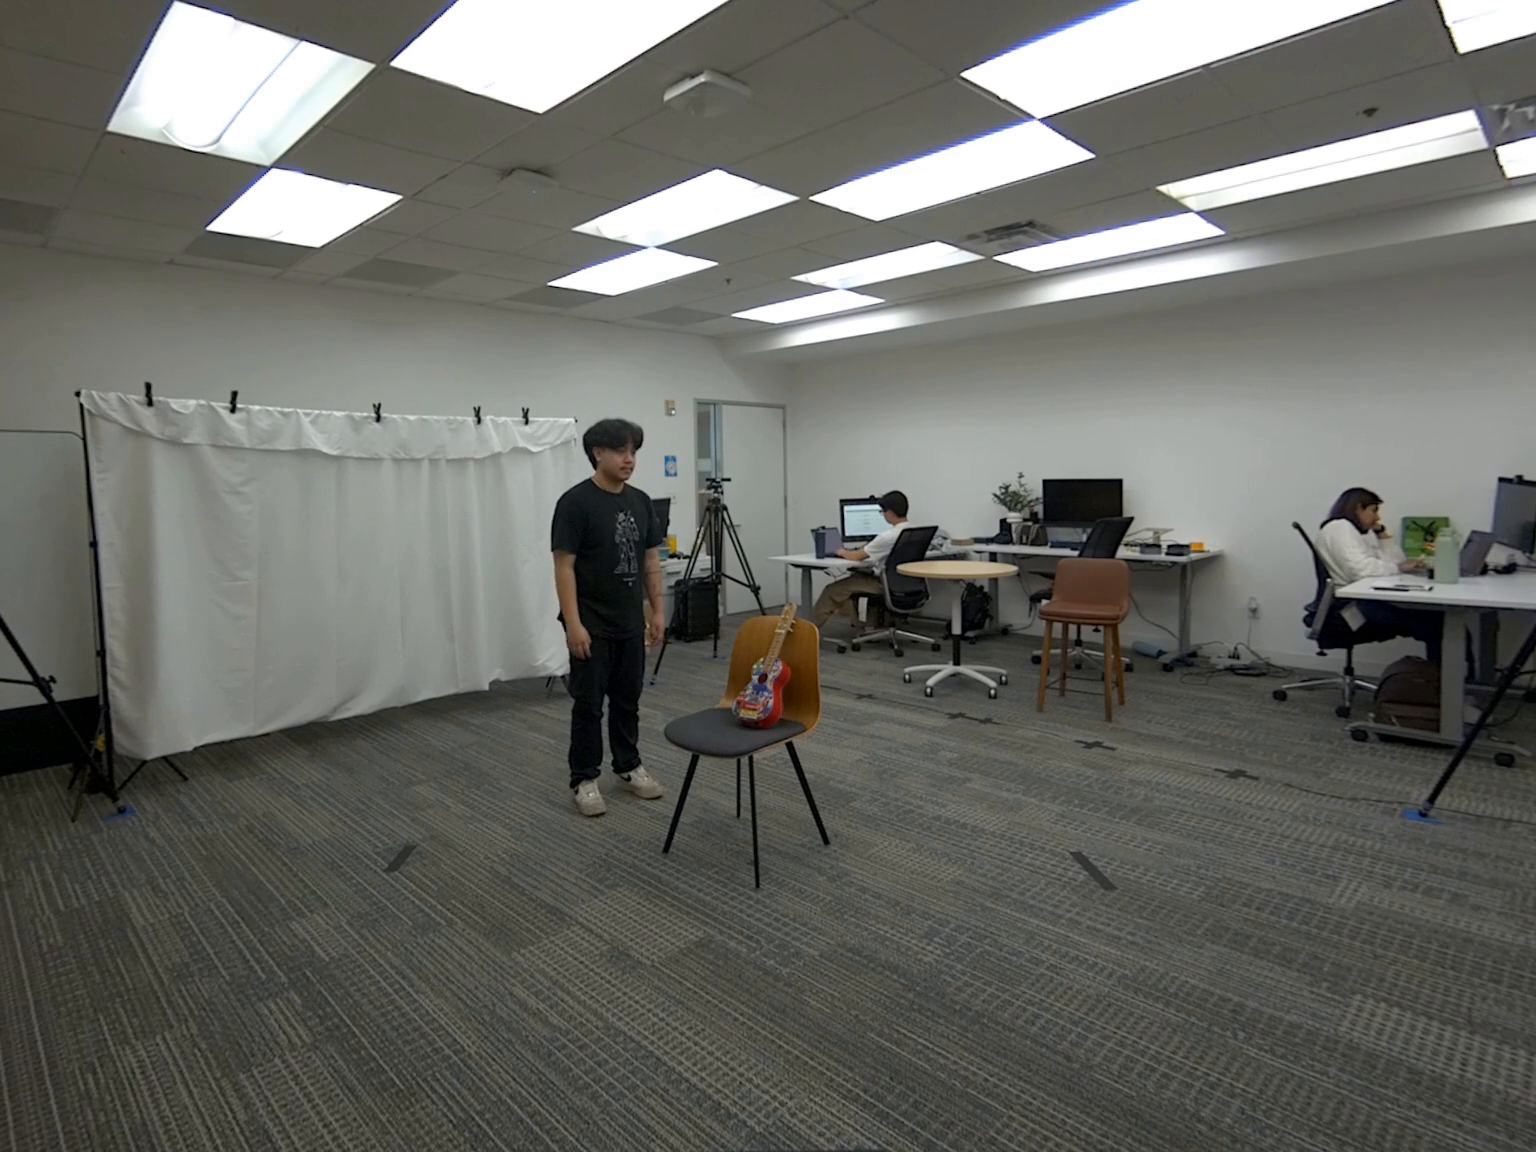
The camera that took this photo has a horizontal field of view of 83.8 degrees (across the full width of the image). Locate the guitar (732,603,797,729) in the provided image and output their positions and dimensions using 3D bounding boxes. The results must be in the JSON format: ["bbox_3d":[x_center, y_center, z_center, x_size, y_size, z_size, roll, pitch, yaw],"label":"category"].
[{"bbox_3d":[0.032,0.339,3.247,0.199,0.501,0.068,6,-27,44],"label":"guitar"}]
